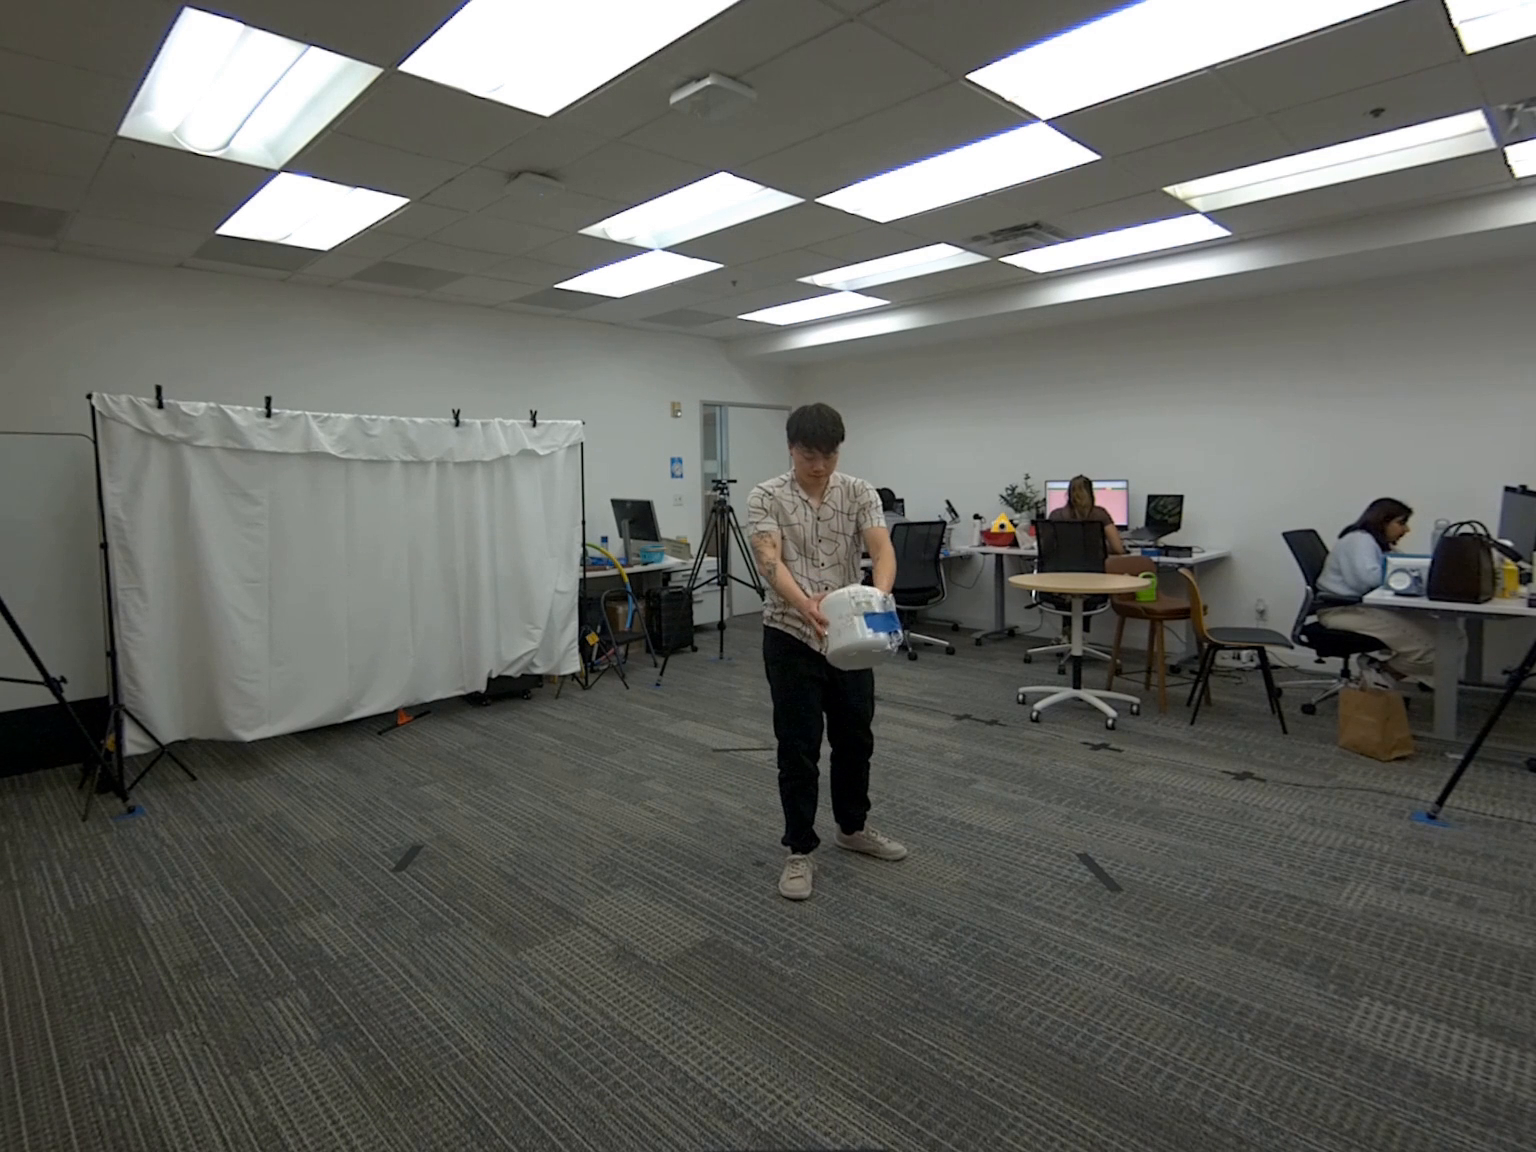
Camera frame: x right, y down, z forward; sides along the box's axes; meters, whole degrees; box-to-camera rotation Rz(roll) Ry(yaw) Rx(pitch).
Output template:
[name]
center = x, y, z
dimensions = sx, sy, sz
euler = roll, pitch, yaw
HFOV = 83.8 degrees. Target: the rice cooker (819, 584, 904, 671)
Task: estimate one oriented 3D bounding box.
[rice cooker]
center = 0.253, 0.145, 2.546
dimensions = 0.216, 0.239, 0.217
euler = -3, -27, -9
